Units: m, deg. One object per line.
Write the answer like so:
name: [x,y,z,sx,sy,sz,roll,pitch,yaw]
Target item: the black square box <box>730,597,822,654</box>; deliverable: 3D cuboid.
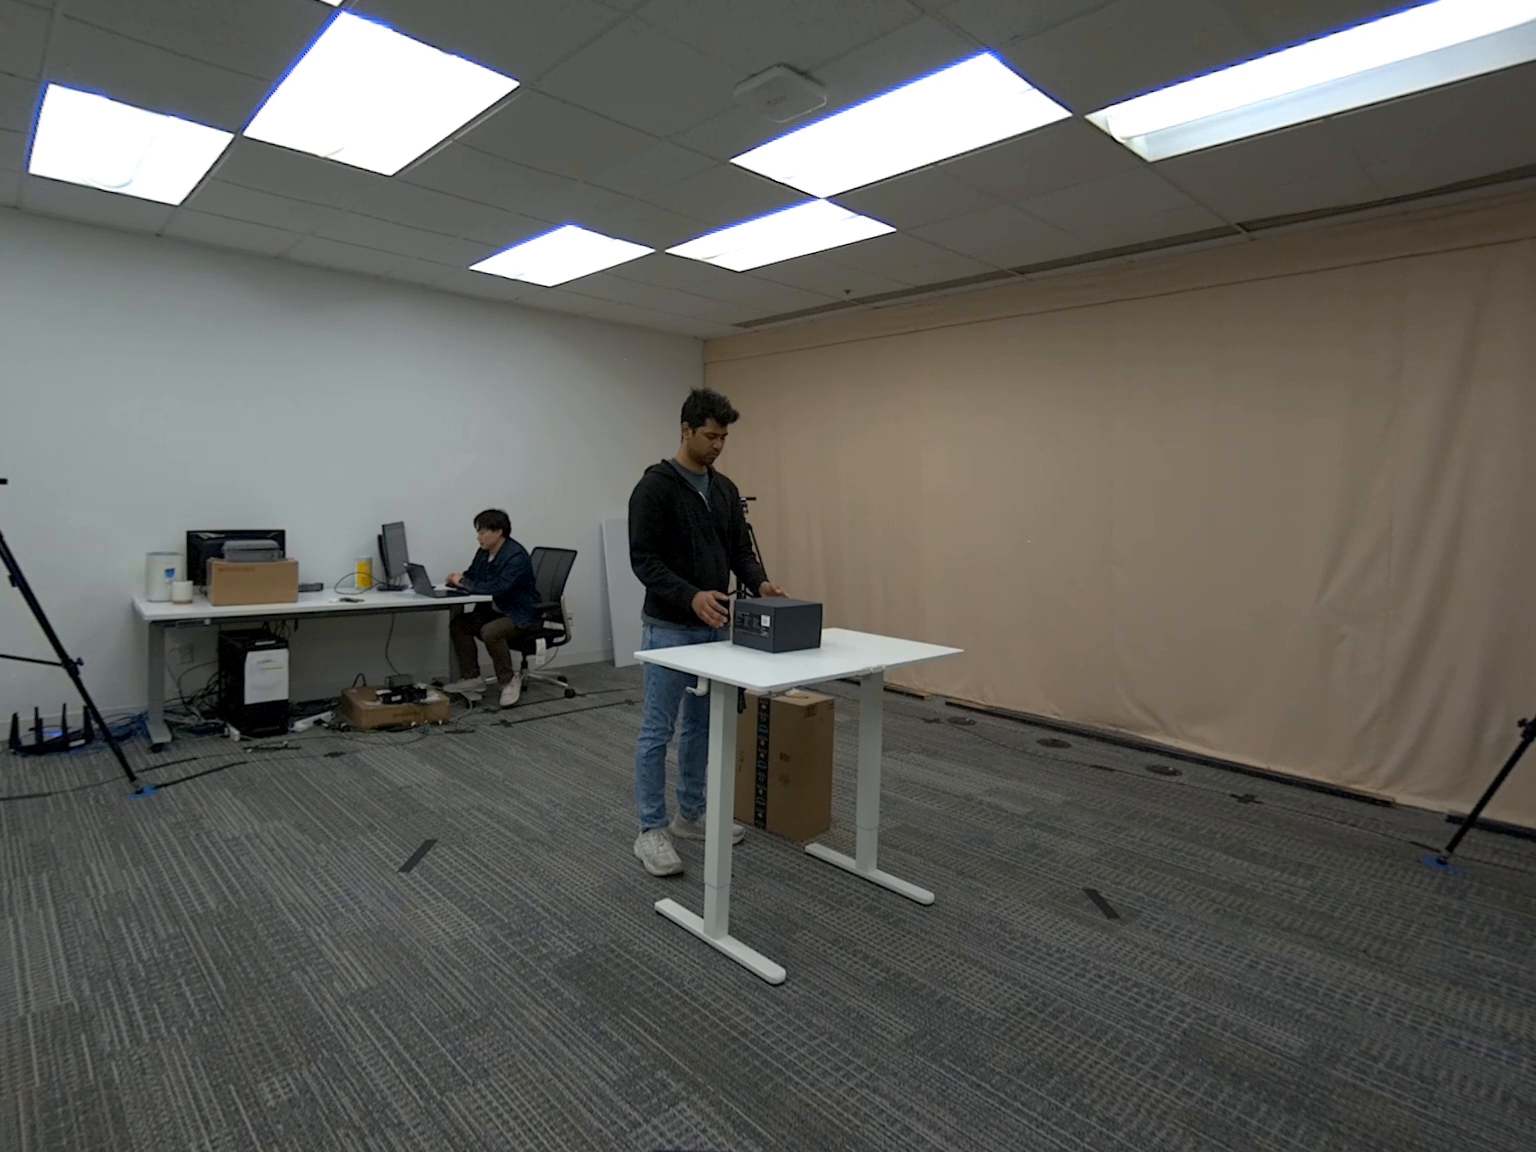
black square box: [0.032,0.168,2.916,0.223,0.155,0.222,-2,6,-41]
